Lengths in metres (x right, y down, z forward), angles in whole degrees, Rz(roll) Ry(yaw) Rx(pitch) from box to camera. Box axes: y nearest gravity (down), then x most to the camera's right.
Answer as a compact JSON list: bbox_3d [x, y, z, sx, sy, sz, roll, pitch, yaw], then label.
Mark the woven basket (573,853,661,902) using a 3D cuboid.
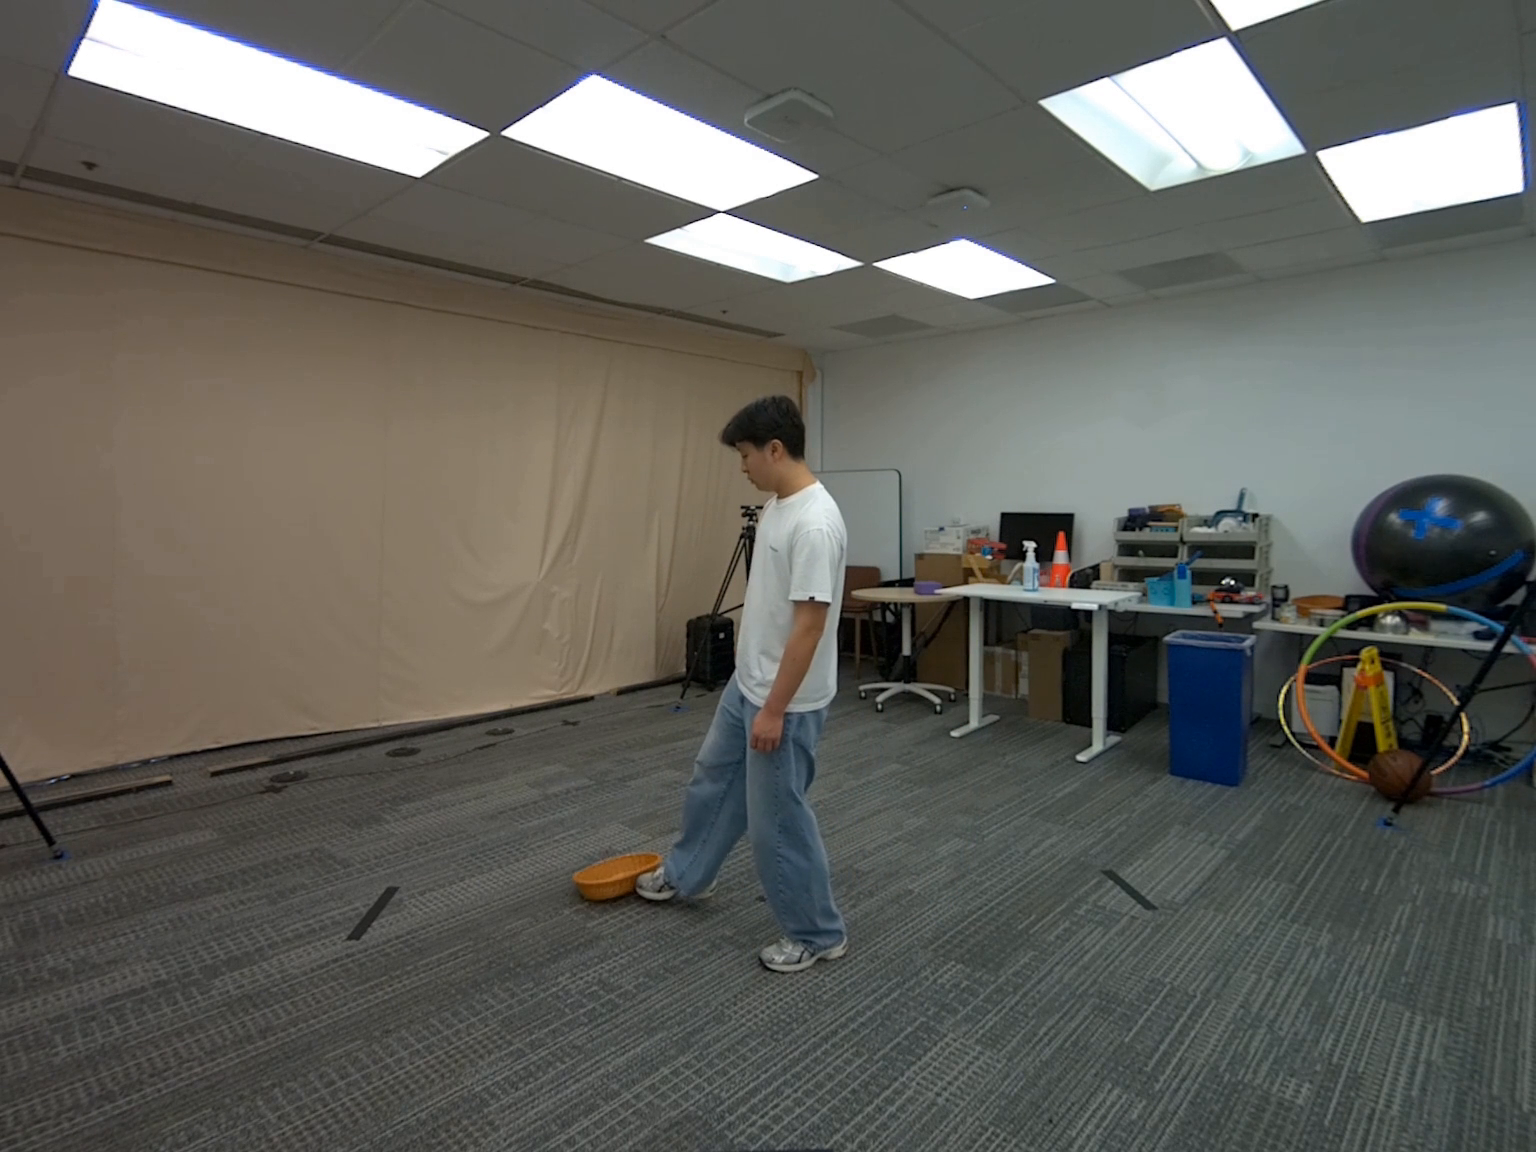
[{"bbox_3d":[-0.534,1.095,3.050,0.340,0.073,0.259,-6,-2,-41],"label":"woven basket"}]
